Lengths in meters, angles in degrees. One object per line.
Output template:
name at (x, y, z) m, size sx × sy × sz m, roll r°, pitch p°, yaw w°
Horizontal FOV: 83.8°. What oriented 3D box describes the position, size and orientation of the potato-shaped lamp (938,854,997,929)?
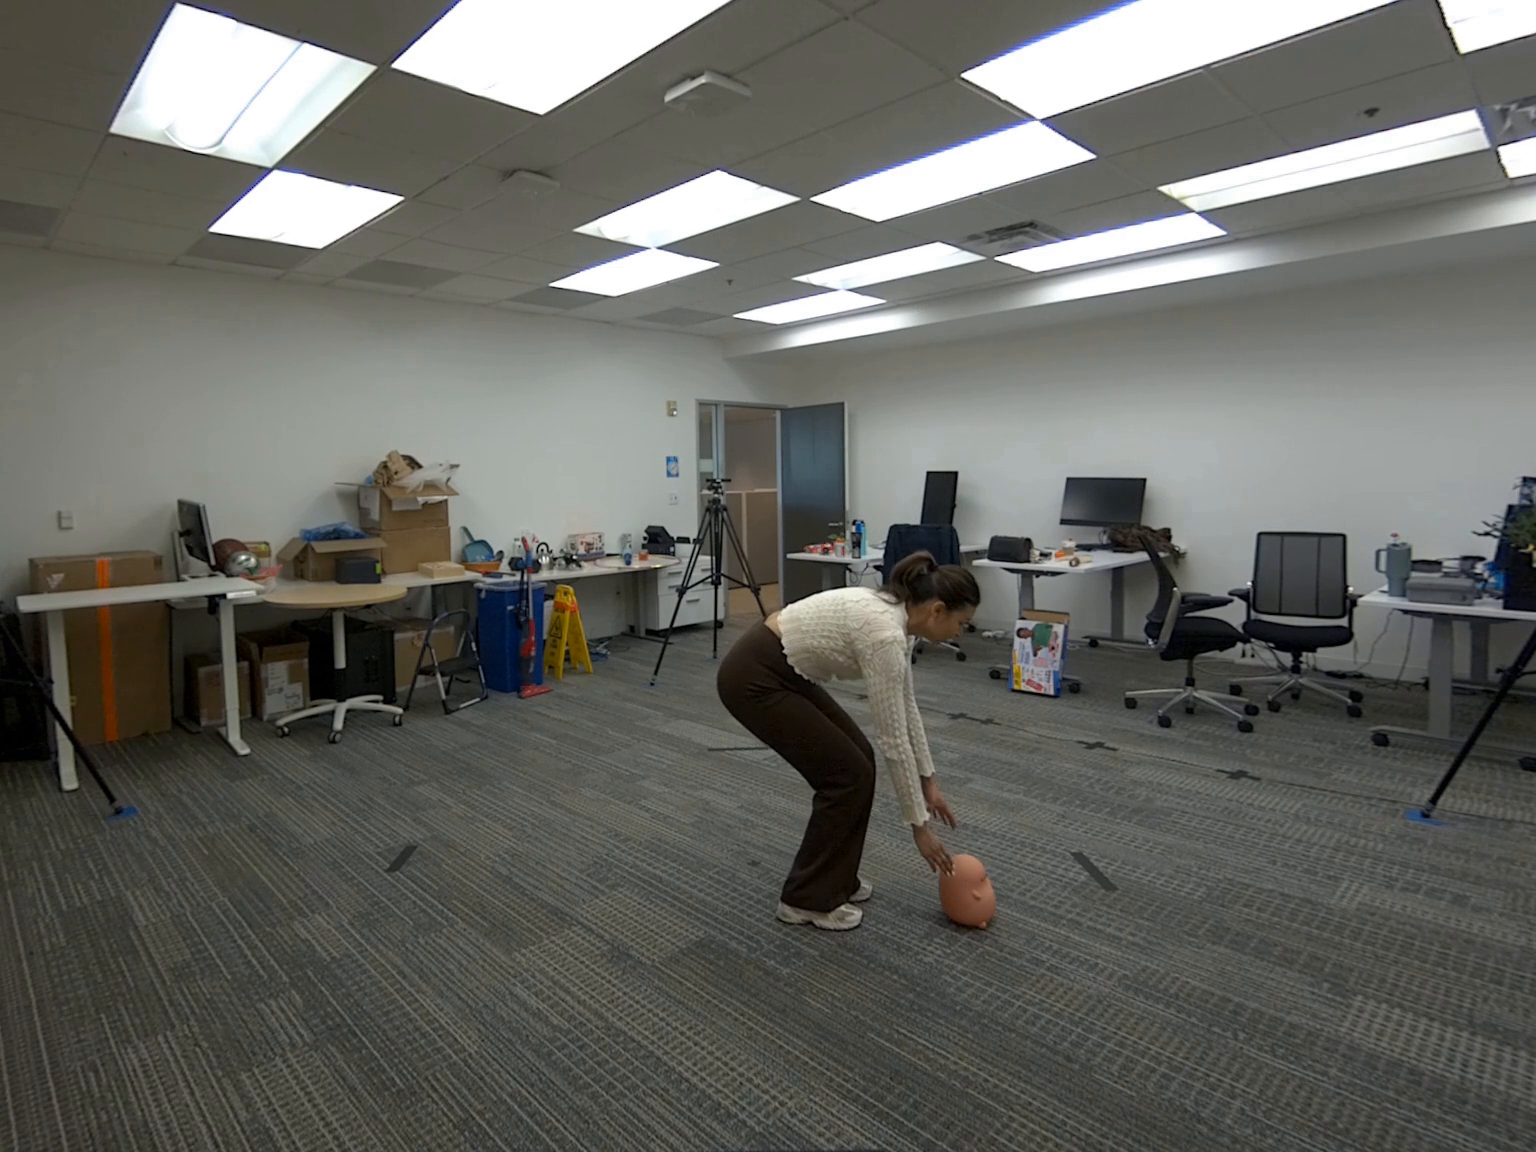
potato-shaped lamp at (0.622, 0.971, 2.688) m, size 0.176 × 0.198 × 0.161 m, roll 0°, pitch 3°, yaw 31°
